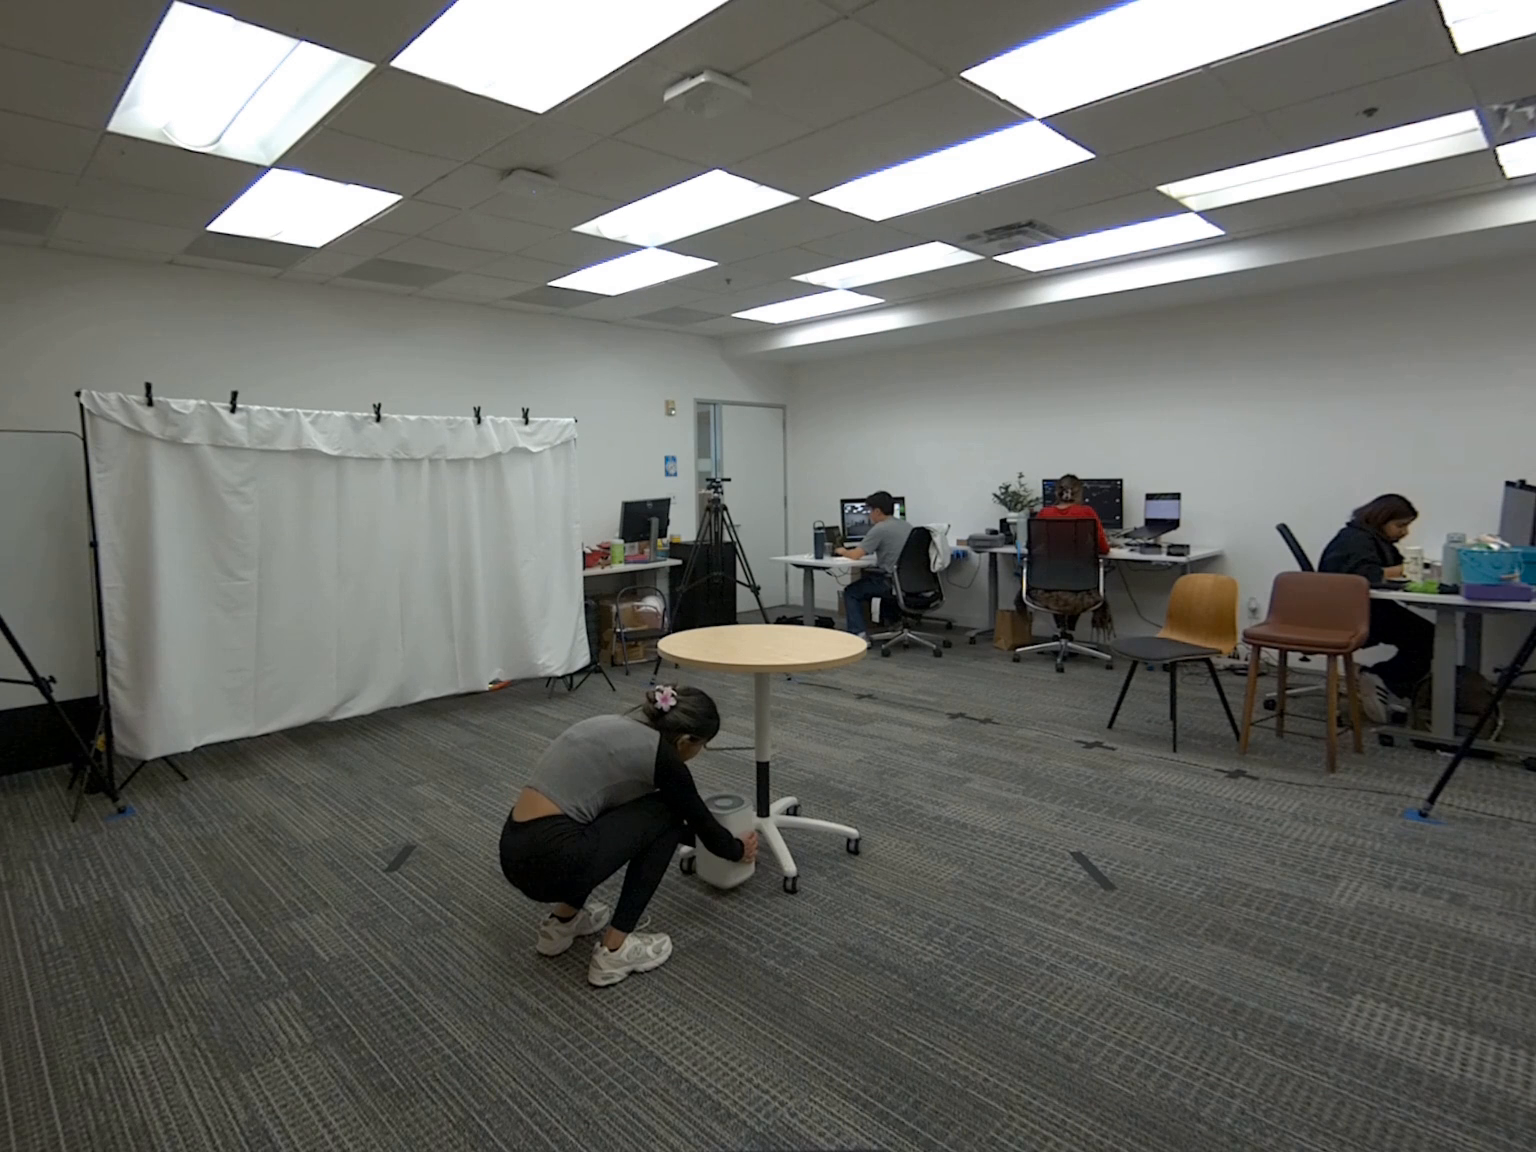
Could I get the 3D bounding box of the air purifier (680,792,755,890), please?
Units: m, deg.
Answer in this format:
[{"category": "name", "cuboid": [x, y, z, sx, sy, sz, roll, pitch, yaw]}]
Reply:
[{"category": "air purifier", "cuboid": [-0.143, 0.898, 2.911, 0.176, 0.264, 0.167, 2, 6, 39]}]
